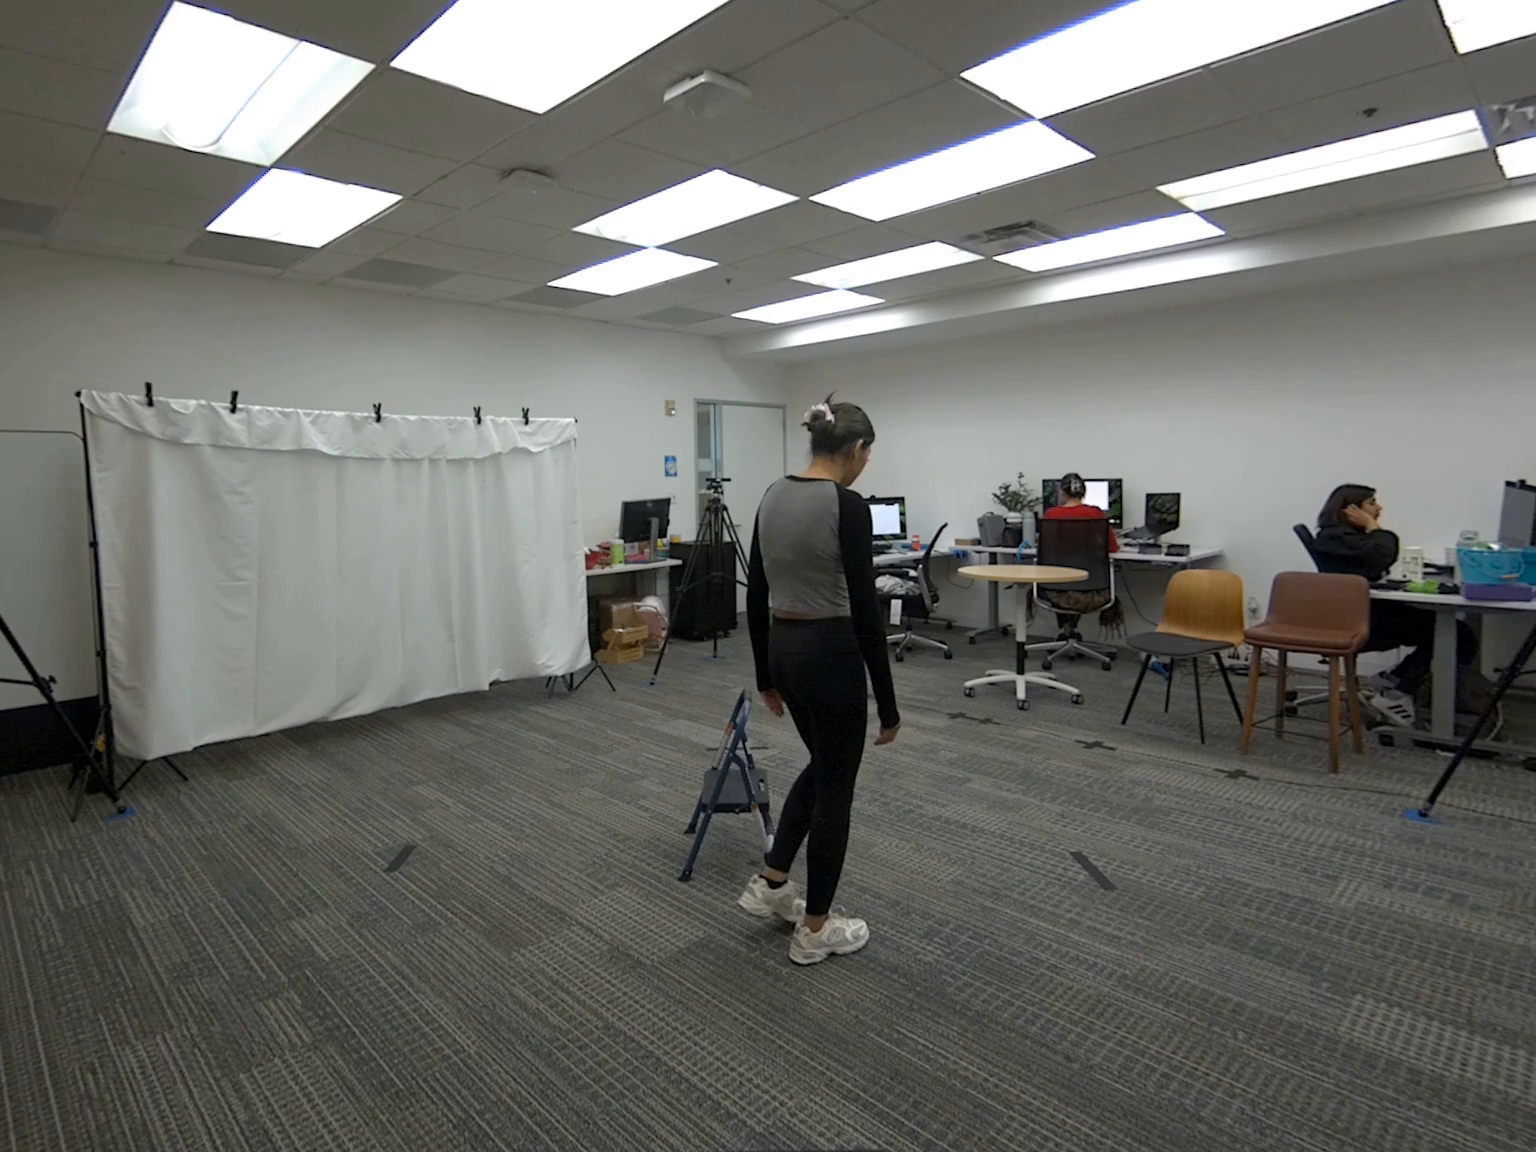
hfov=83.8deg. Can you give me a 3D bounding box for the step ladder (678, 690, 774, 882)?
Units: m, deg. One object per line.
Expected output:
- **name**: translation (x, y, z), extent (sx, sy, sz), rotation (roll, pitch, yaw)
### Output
- **step ladder**: translation (-0.147, 0.737, 3.161), extent (0.349, 0.604, 0.432), rotation (-1, 4, -1)
